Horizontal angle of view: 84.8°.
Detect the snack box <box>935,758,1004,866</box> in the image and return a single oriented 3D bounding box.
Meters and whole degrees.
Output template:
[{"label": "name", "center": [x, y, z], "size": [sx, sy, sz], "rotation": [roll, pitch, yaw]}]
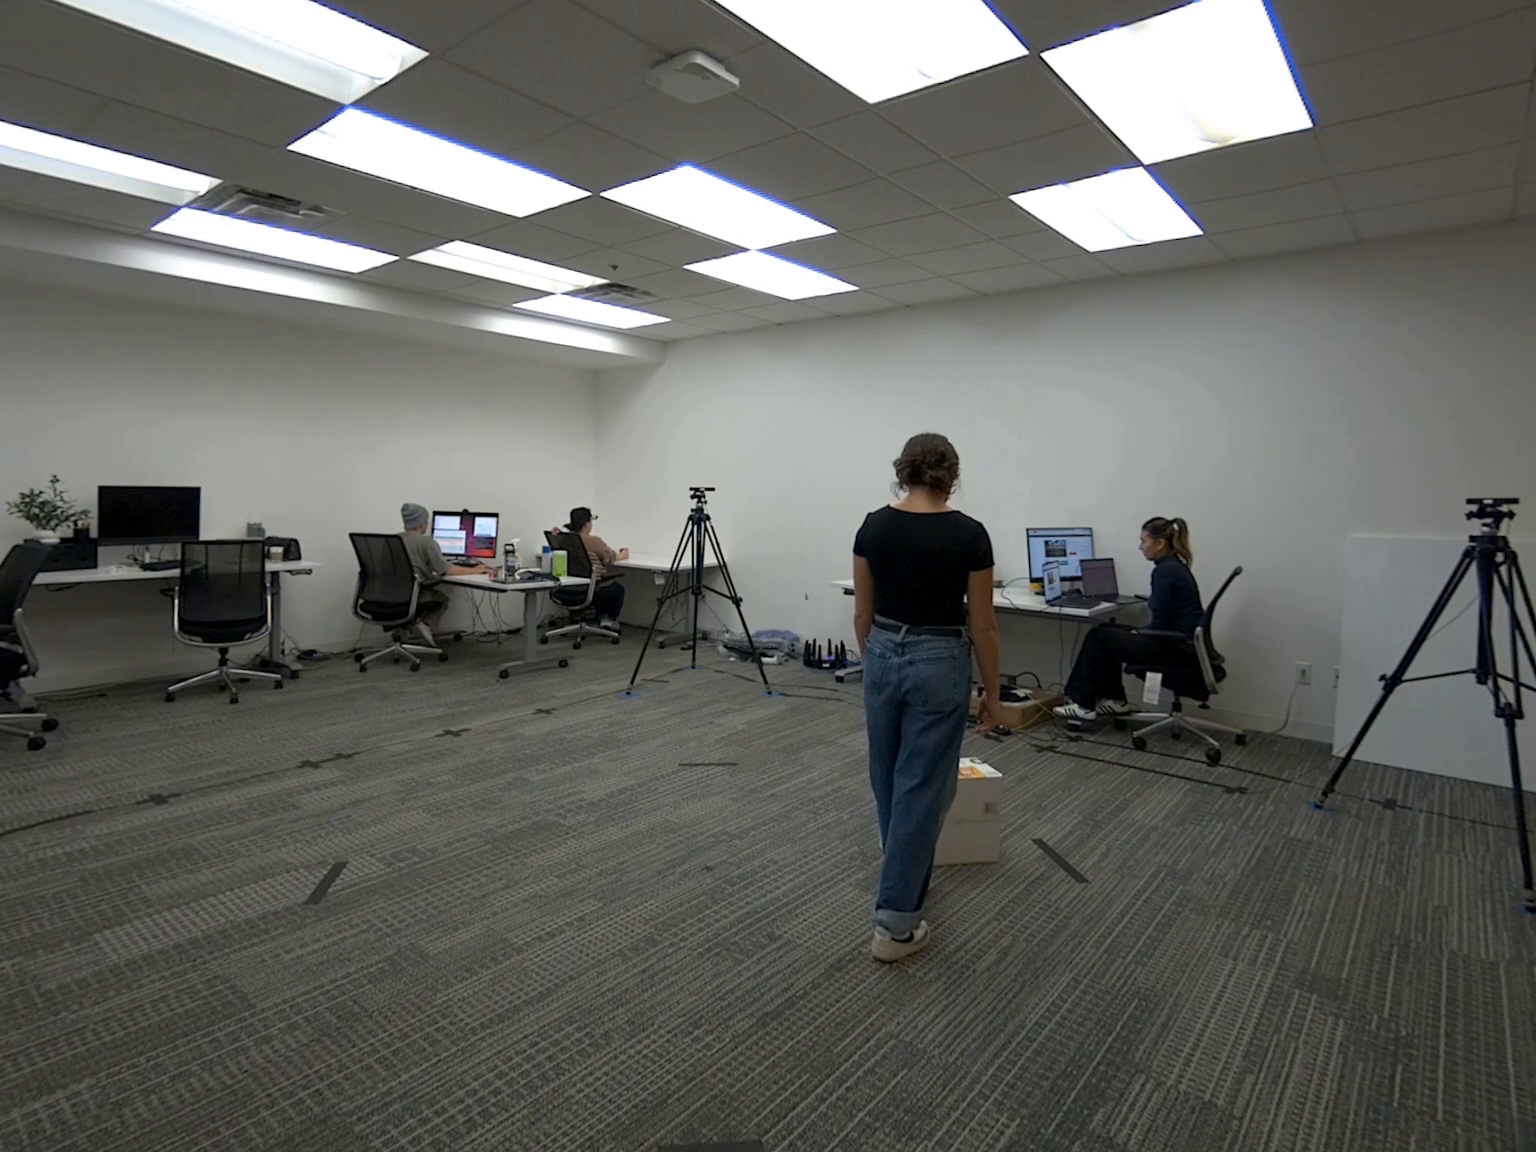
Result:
[{"label": "snack box", "center": [0.659, 0.899, 3.267], "size": [0.400, 0.338, 0.209], "rotation": [0, 6, -12]}]
